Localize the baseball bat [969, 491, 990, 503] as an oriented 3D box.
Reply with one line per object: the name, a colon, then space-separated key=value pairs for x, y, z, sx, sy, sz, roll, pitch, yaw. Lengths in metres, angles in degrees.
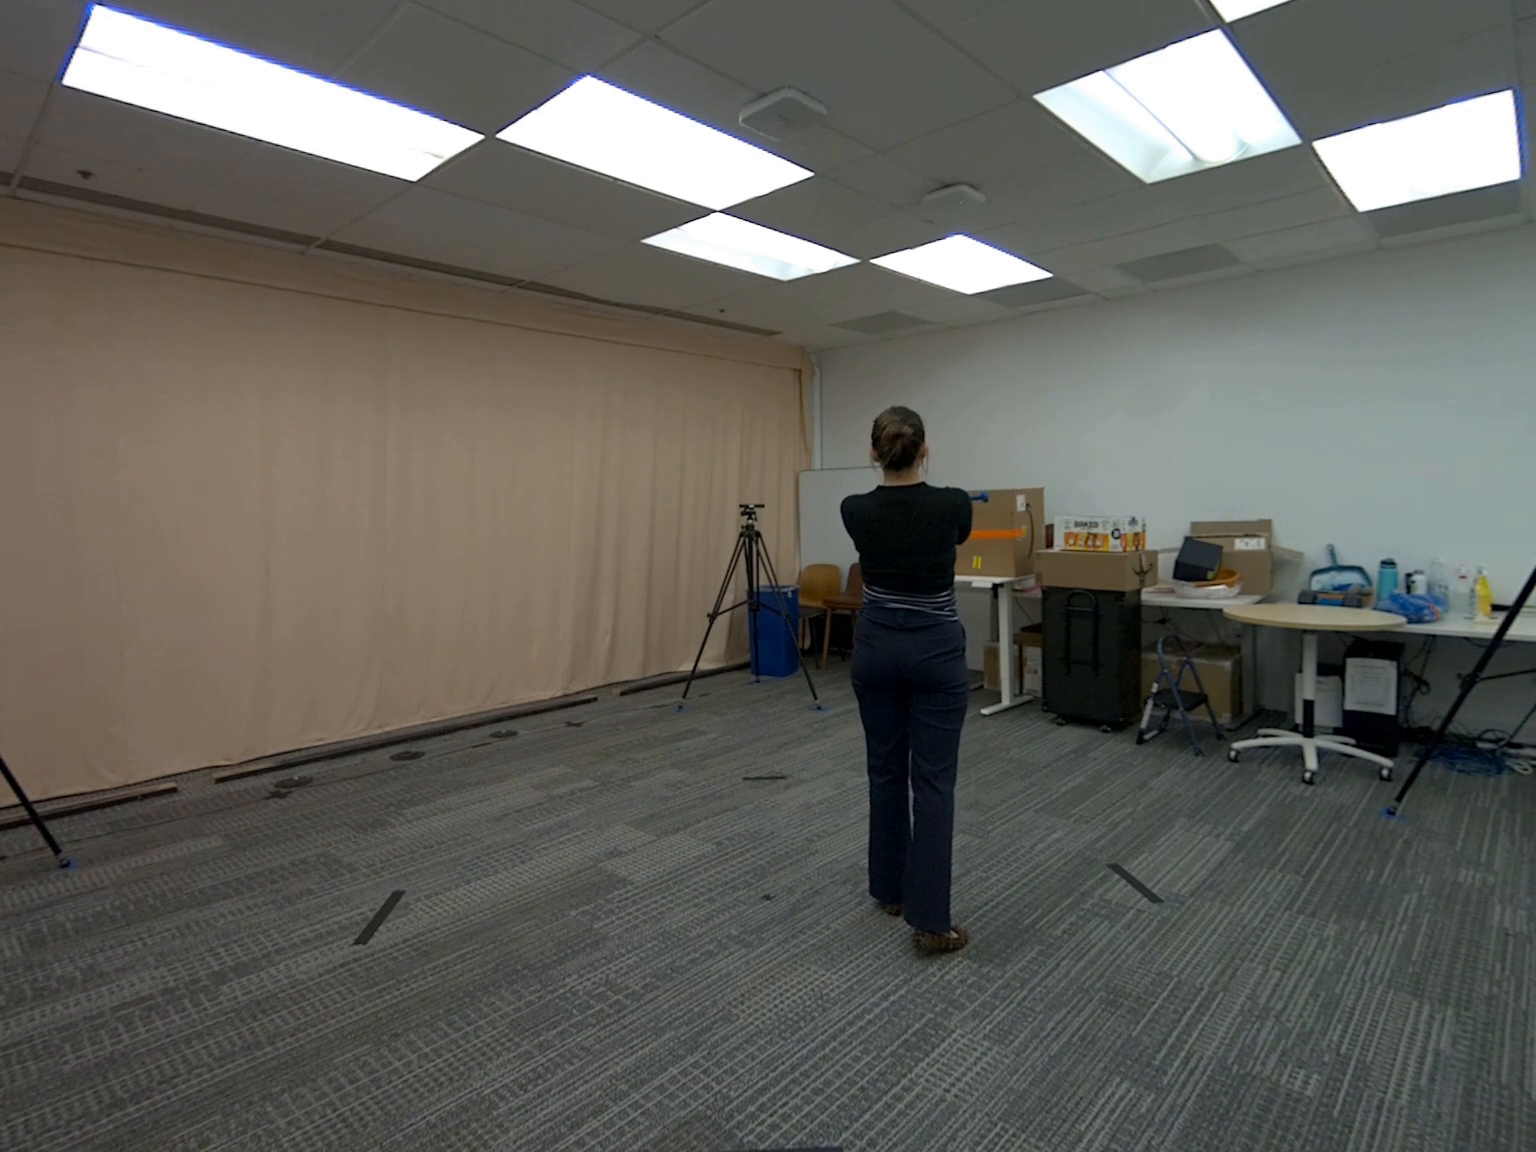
baseball bat: x=0.597 y=-0.290 z=3.324 sx=0.550 sy=0.089 sz=0.088 roll=-4 pitch=3 yaw=13
